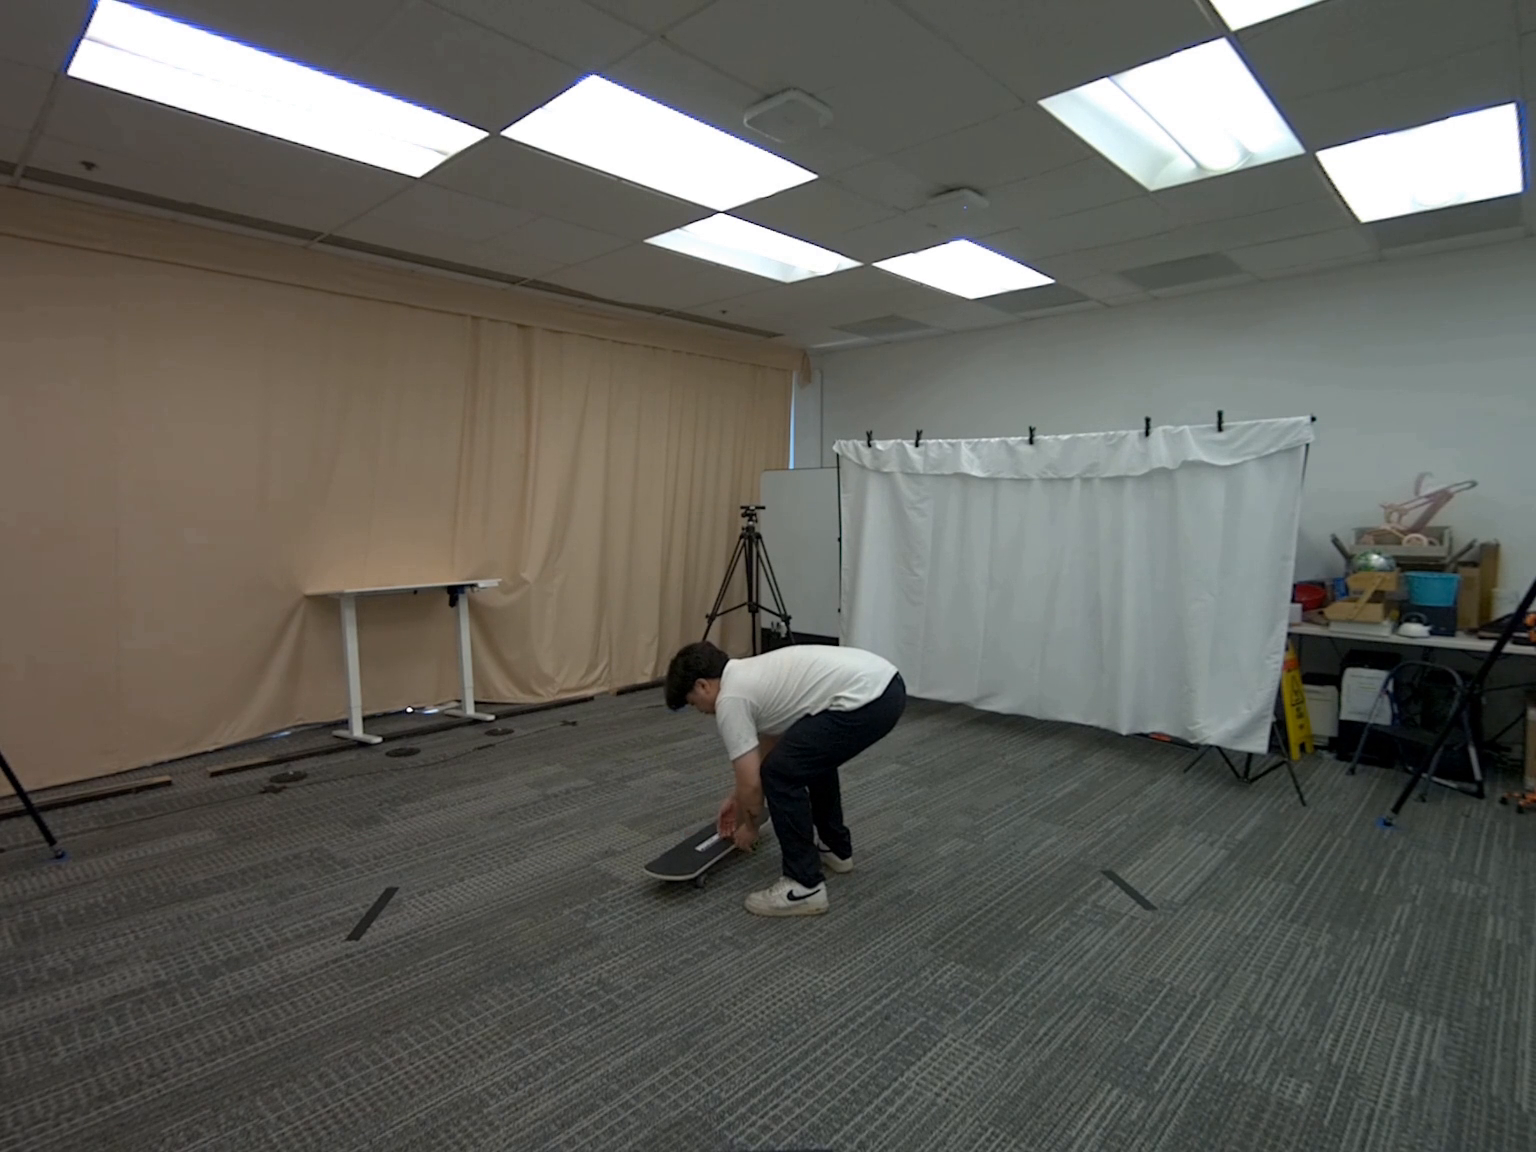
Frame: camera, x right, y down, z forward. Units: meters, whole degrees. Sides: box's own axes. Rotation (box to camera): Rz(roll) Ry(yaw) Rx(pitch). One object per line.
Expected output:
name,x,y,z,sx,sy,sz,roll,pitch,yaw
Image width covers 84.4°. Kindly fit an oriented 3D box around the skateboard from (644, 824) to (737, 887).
skateboard,-0.214,1.063,3.279,0.199,0.110,0.765,1,5,28
